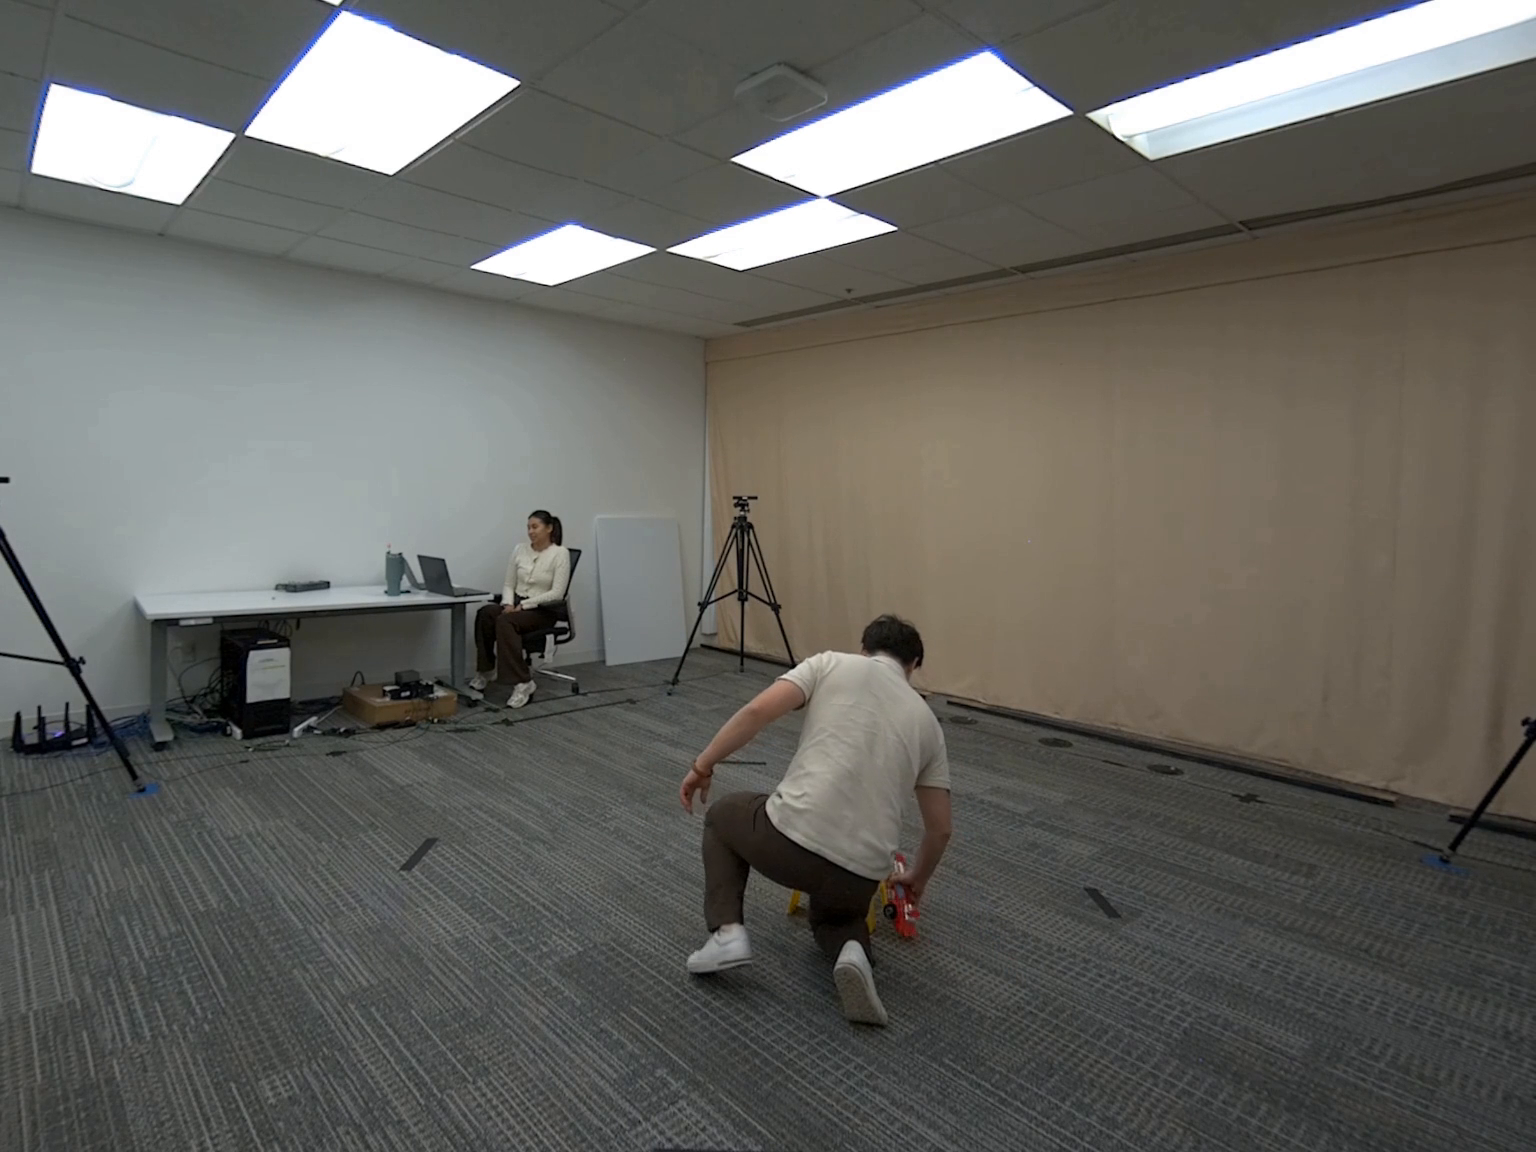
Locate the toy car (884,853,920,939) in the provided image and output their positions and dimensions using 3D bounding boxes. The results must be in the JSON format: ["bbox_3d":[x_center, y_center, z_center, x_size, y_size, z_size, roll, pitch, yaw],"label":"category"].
[{"bbox_3d":[0.417,1.032,2.713,0.083,0.261,0.126,-36,-40,23],"label":"toy car"}]
